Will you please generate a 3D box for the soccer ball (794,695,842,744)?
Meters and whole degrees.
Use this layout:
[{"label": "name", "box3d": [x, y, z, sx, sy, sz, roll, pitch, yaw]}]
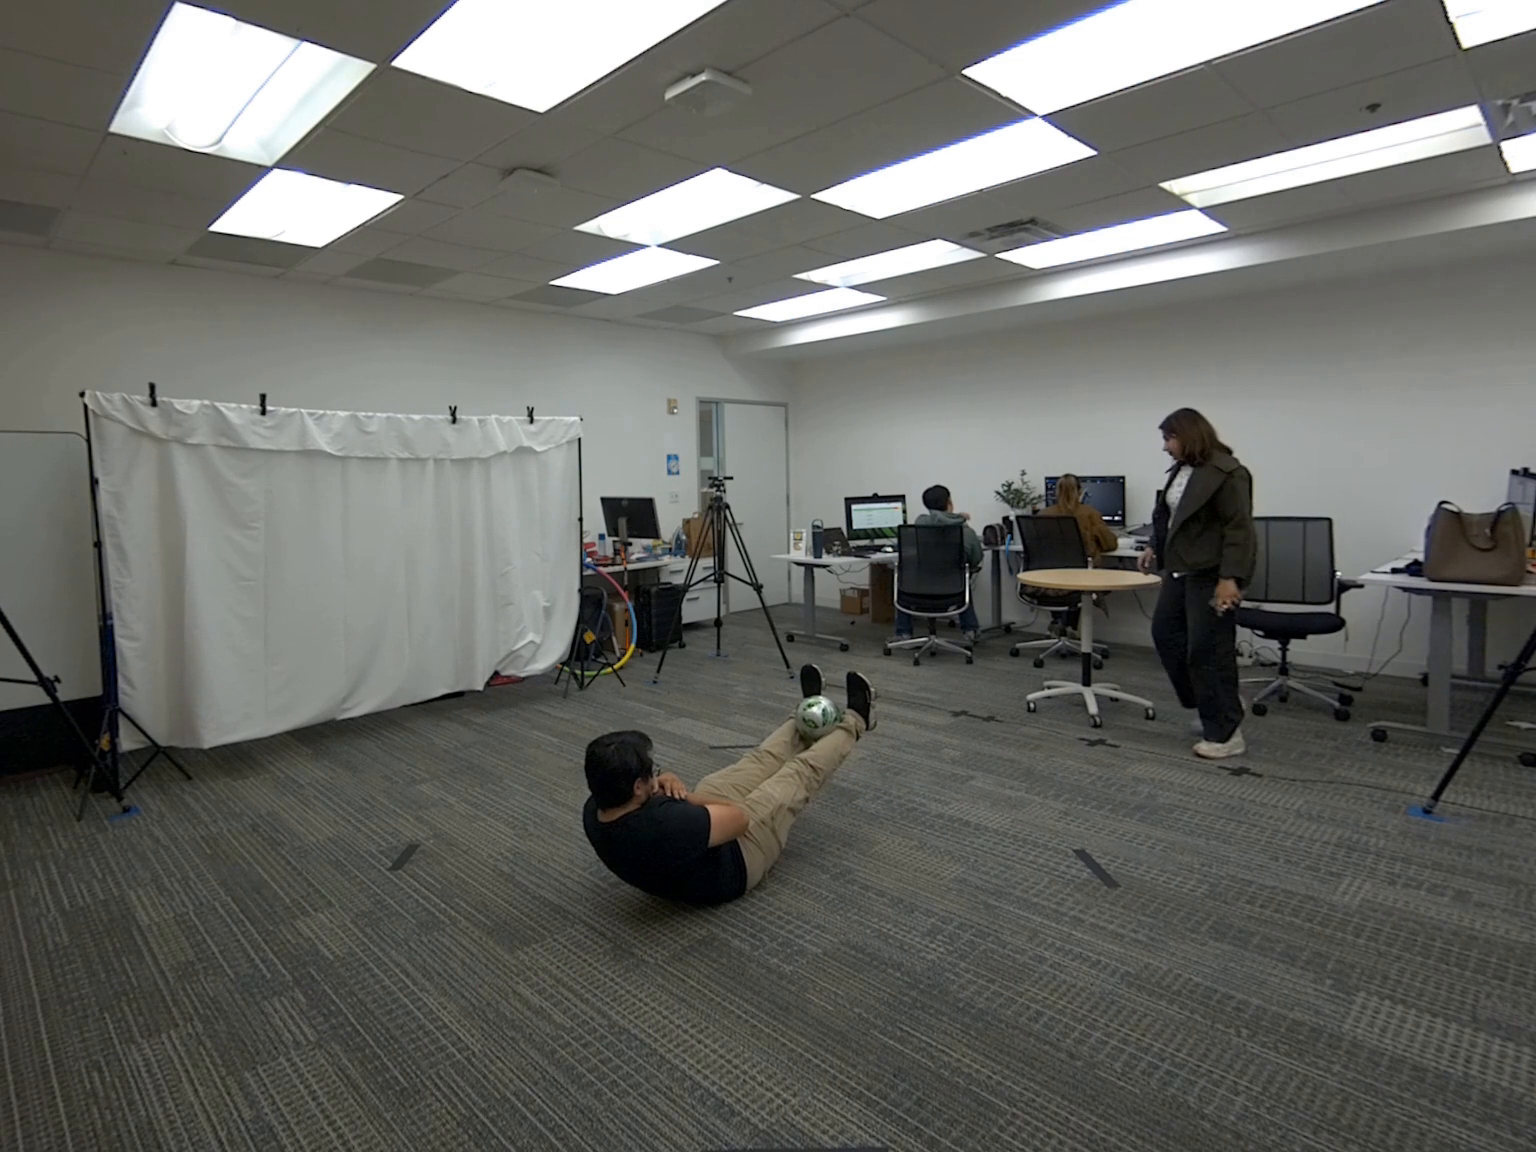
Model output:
[{"label": "soccer ball", "box3d": [0.208, 0.580, 3.424, 0.187, 0.187, 0.188, -1, 4, -2]}]
